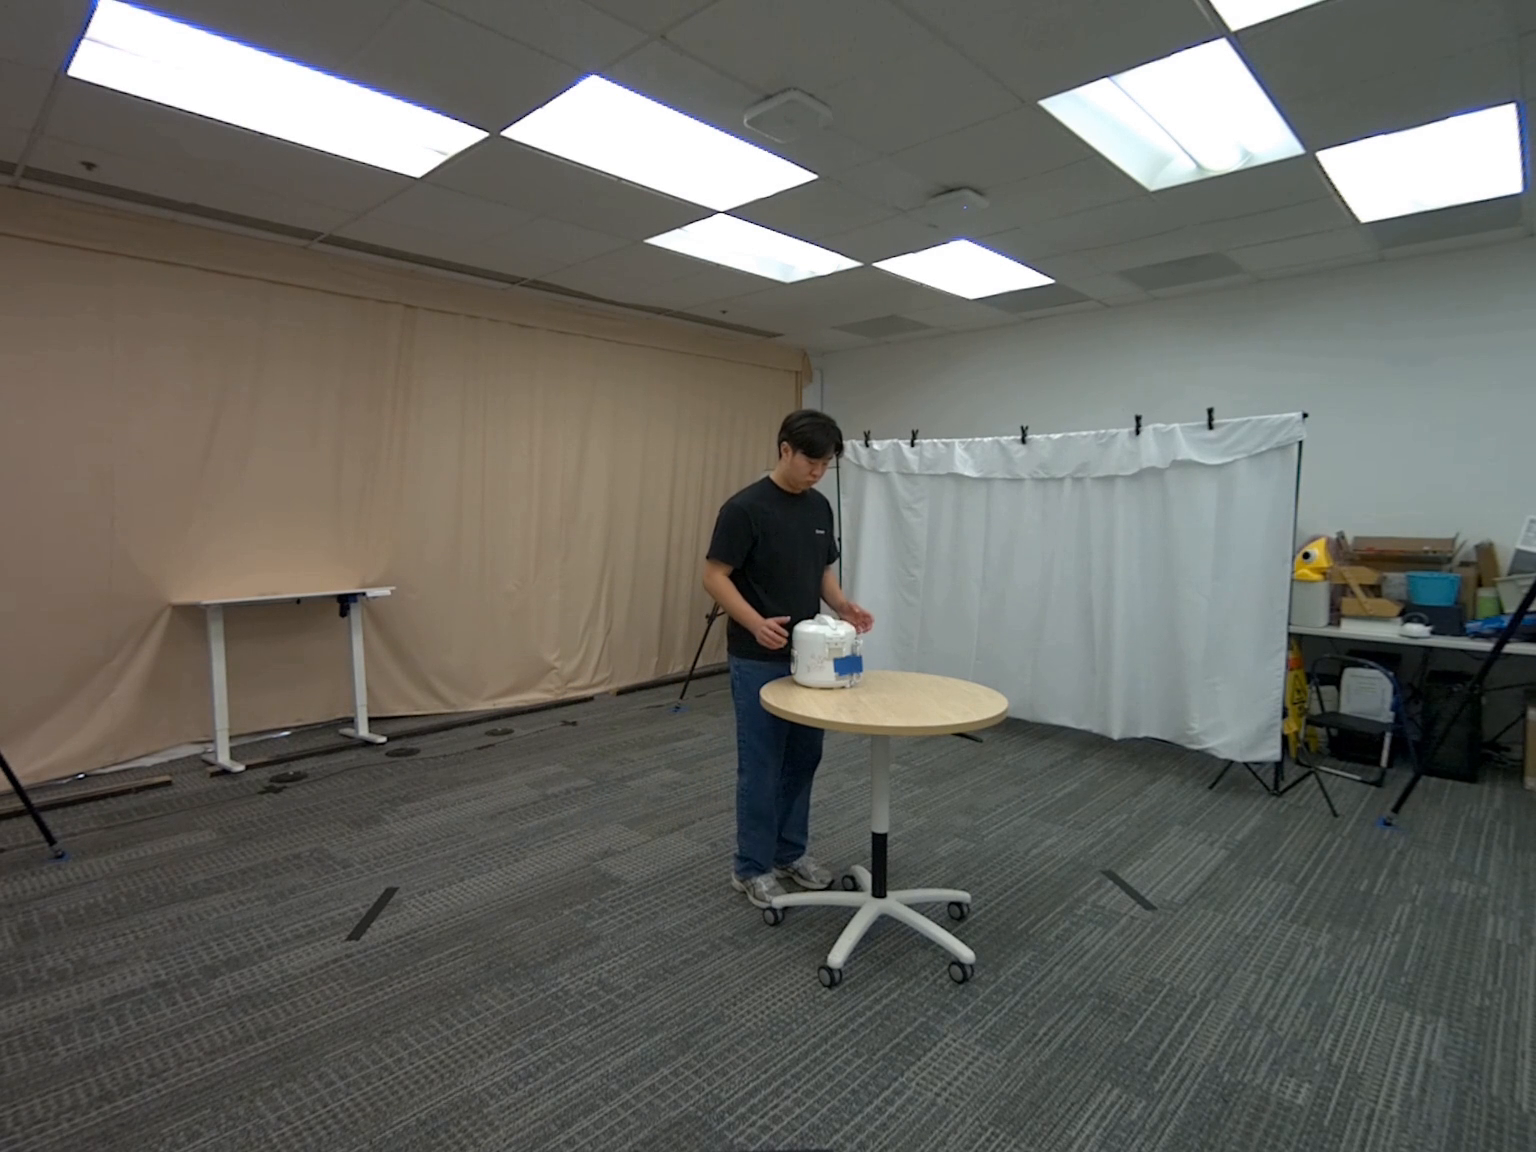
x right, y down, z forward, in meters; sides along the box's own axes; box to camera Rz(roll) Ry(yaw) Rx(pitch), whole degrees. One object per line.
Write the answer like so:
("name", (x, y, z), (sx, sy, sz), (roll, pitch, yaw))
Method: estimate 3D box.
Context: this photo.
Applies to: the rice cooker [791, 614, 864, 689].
("rice cooker", (0.191, 0.248, 2.795), (0.215, 0.232, 0.224), (-1, 3, -13))
